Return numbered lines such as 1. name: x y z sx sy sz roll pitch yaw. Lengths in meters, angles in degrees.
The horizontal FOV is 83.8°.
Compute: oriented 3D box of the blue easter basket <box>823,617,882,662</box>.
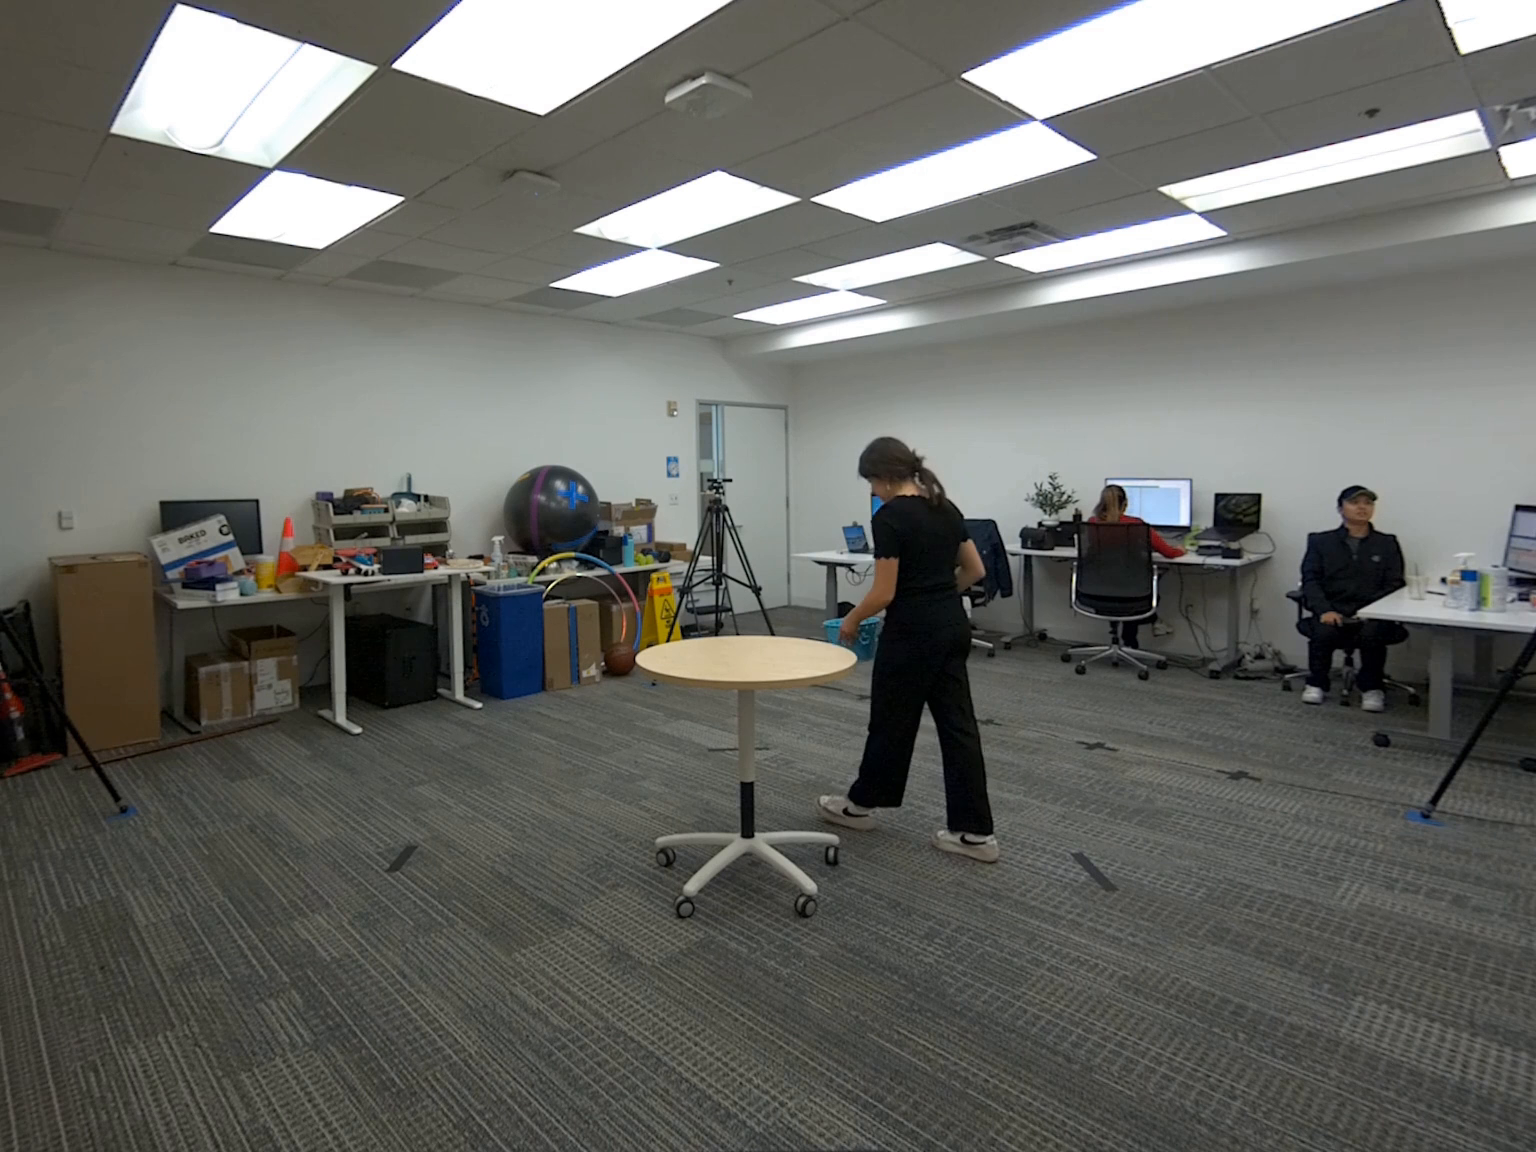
1. blue easter basket: 0.358 0.262 3.467 0.243 0.156 0.244 -5 2 -2
